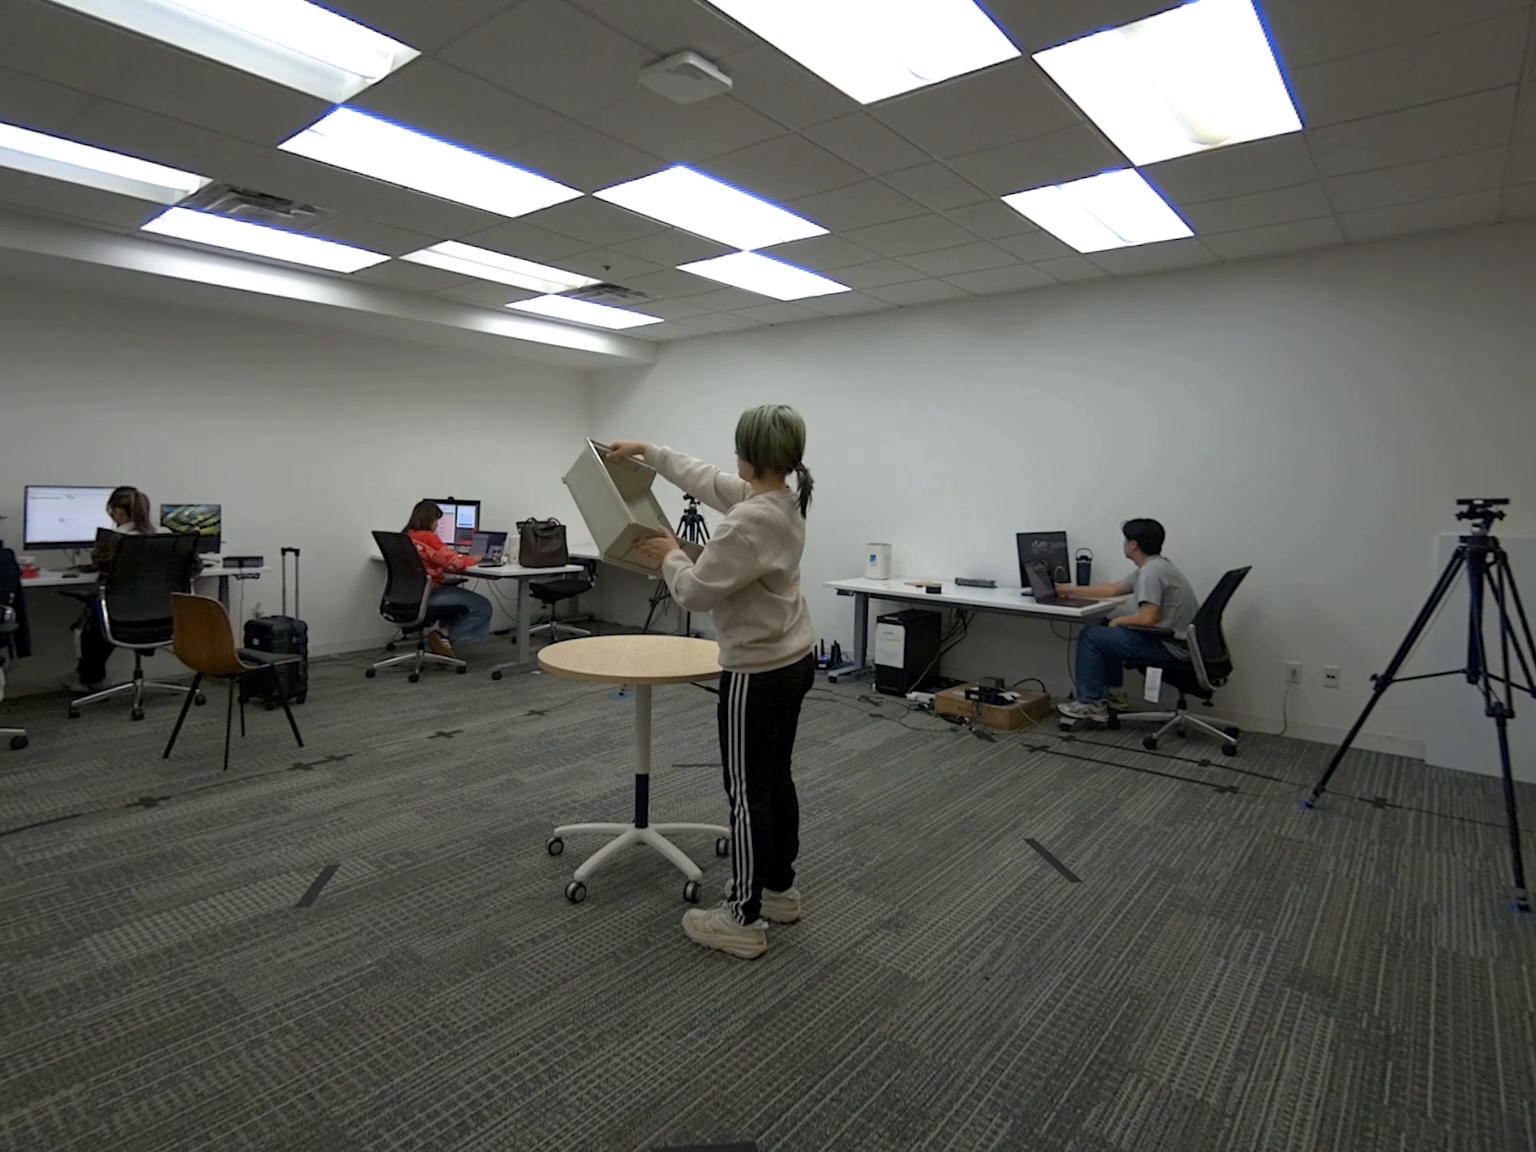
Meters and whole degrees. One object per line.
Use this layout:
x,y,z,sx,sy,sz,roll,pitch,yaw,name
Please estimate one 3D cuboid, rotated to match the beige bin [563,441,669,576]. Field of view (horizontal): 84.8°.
-0.467,-0.217,2.901,0.363,0.189,0.439,16,33,-48,beige bin
